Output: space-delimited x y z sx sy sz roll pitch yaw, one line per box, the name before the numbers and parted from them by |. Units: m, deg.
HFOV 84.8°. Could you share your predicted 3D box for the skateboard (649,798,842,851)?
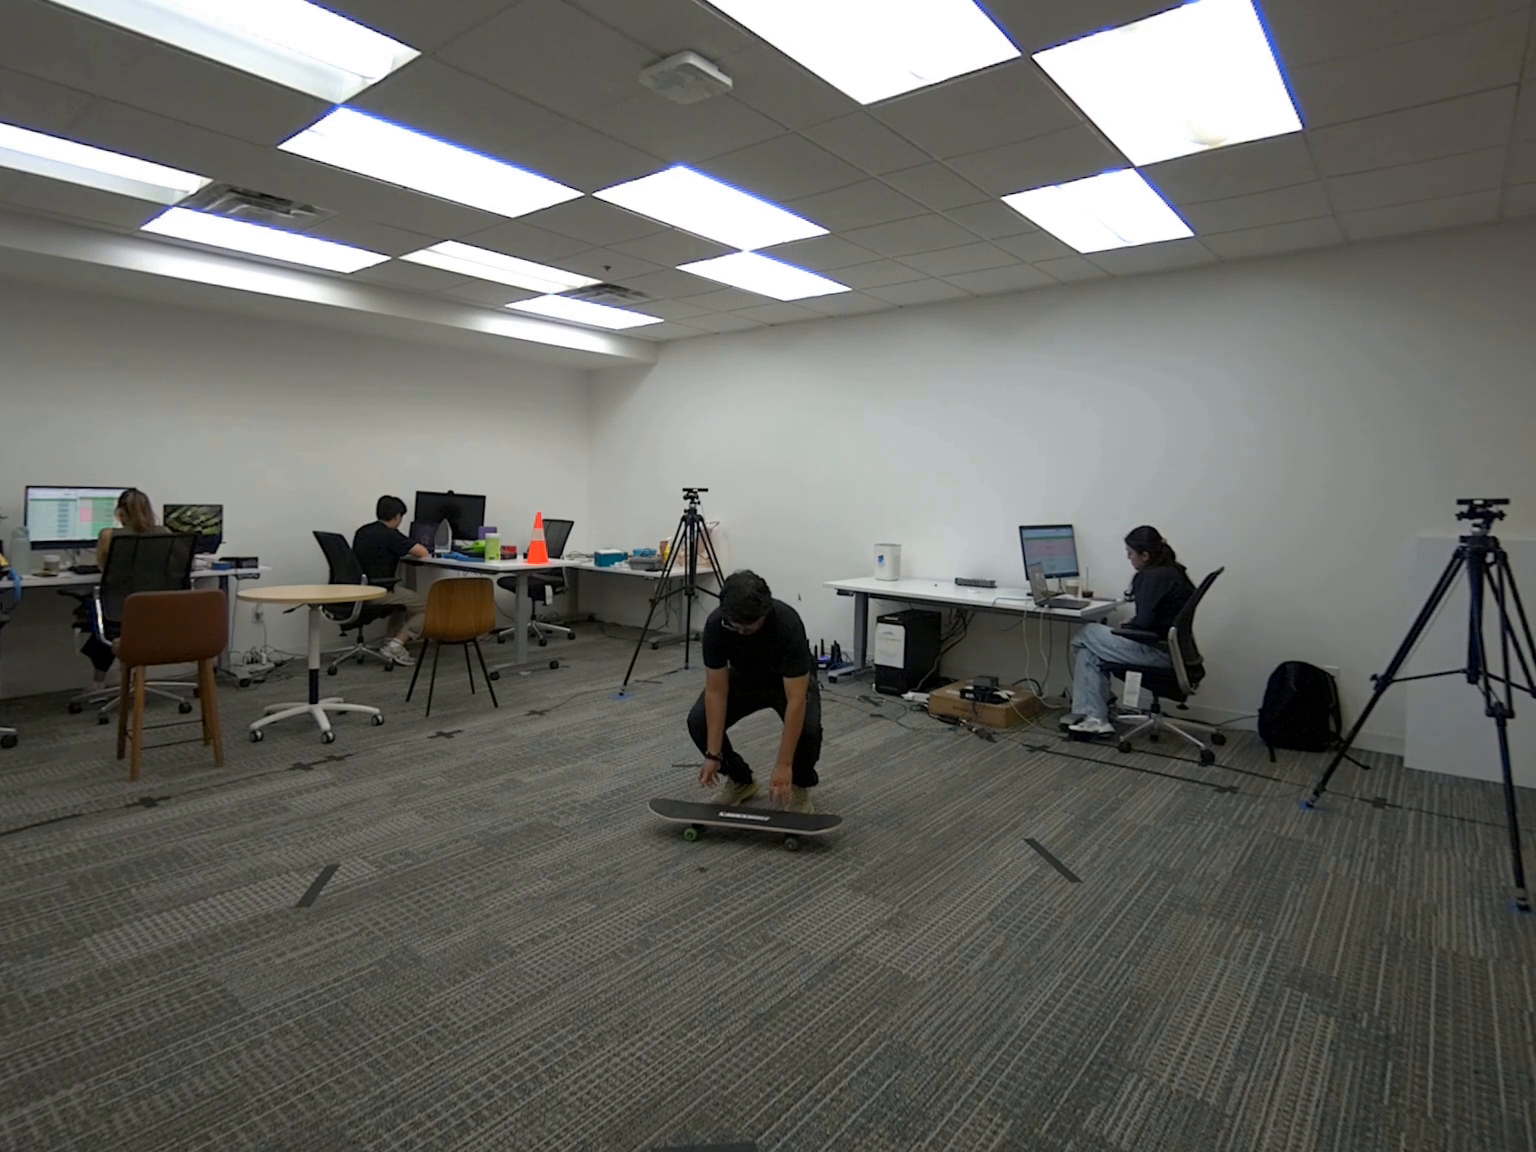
skateboard | -0.105 0.985 3.392 0.795 0.110 0.192 3 5 11
